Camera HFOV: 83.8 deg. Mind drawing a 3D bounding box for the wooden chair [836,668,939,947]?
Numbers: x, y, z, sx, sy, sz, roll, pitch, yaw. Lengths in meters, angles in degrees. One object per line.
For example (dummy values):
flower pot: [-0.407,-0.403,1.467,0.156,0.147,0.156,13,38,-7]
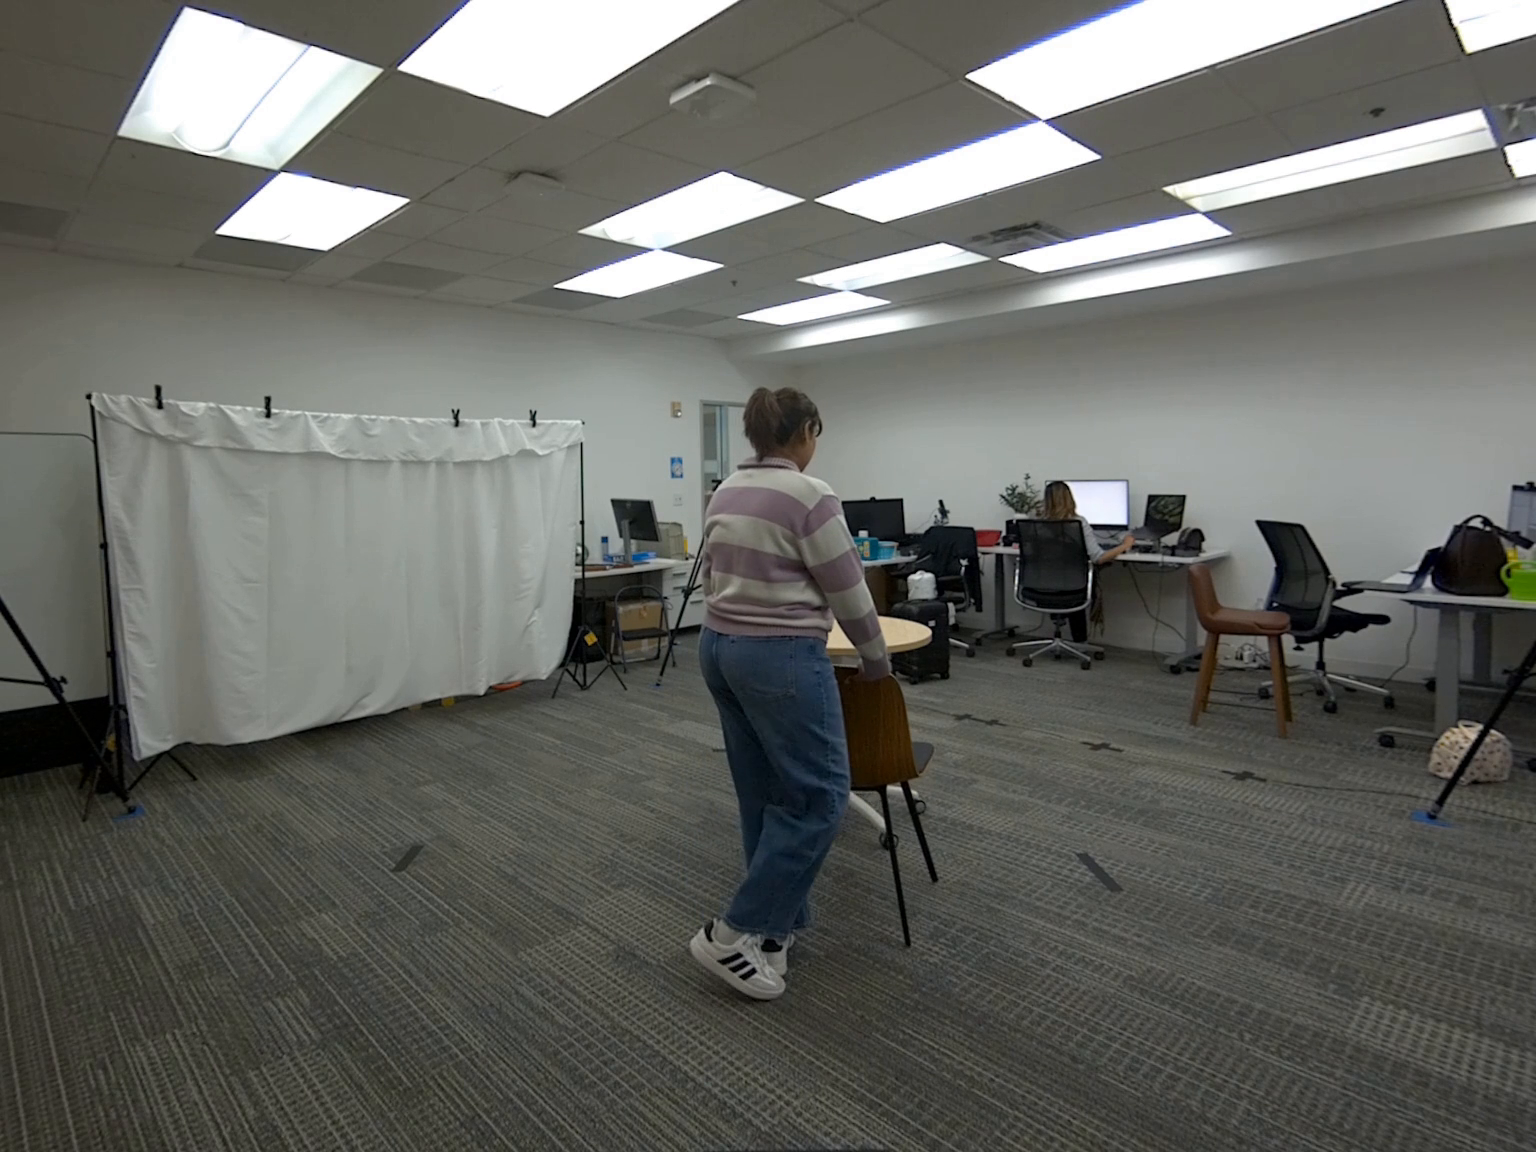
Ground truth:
wooden chair: [0.291,0.647,2.814,0.488,0.871,0.516,0,8,23]
